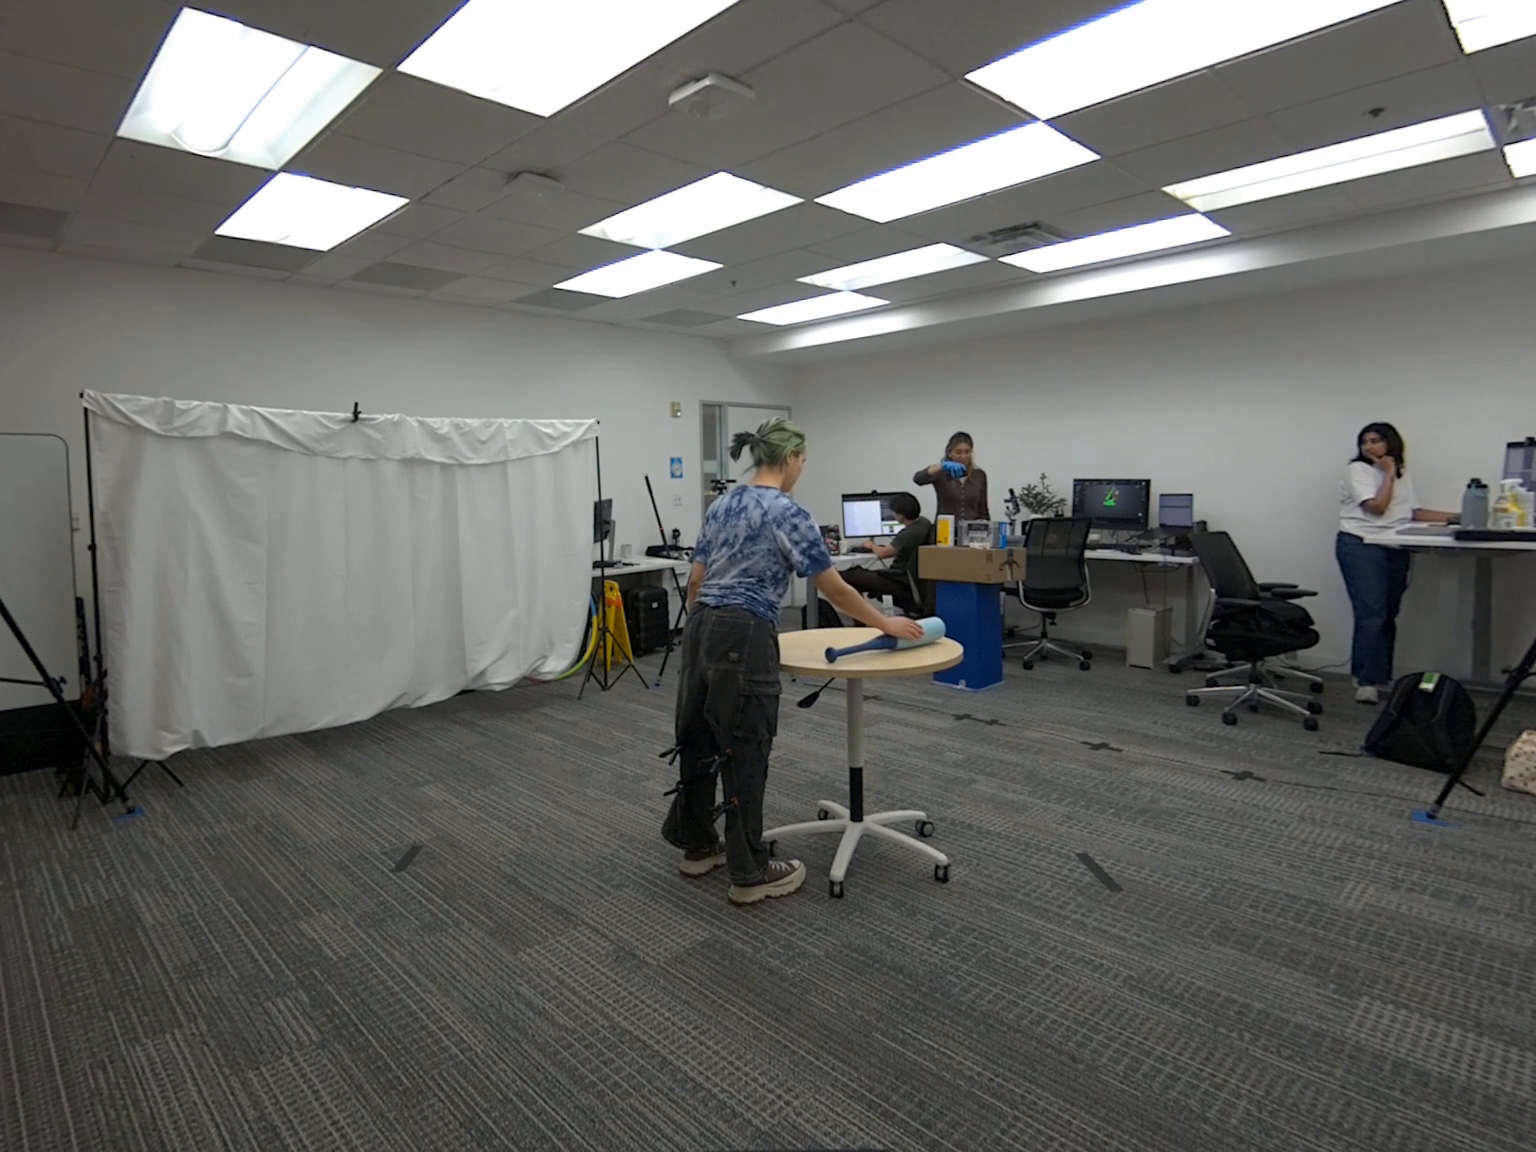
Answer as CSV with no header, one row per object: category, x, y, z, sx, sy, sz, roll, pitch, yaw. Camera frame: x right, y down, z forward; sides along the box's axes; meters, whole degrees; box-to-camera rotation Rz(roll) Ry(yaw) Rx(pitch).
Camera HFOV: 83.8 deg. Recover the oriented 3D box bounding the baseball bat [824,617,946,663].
baseball bat,0.417,0.234,2.985,0.531,0.088,0.092,-11,10,-36
